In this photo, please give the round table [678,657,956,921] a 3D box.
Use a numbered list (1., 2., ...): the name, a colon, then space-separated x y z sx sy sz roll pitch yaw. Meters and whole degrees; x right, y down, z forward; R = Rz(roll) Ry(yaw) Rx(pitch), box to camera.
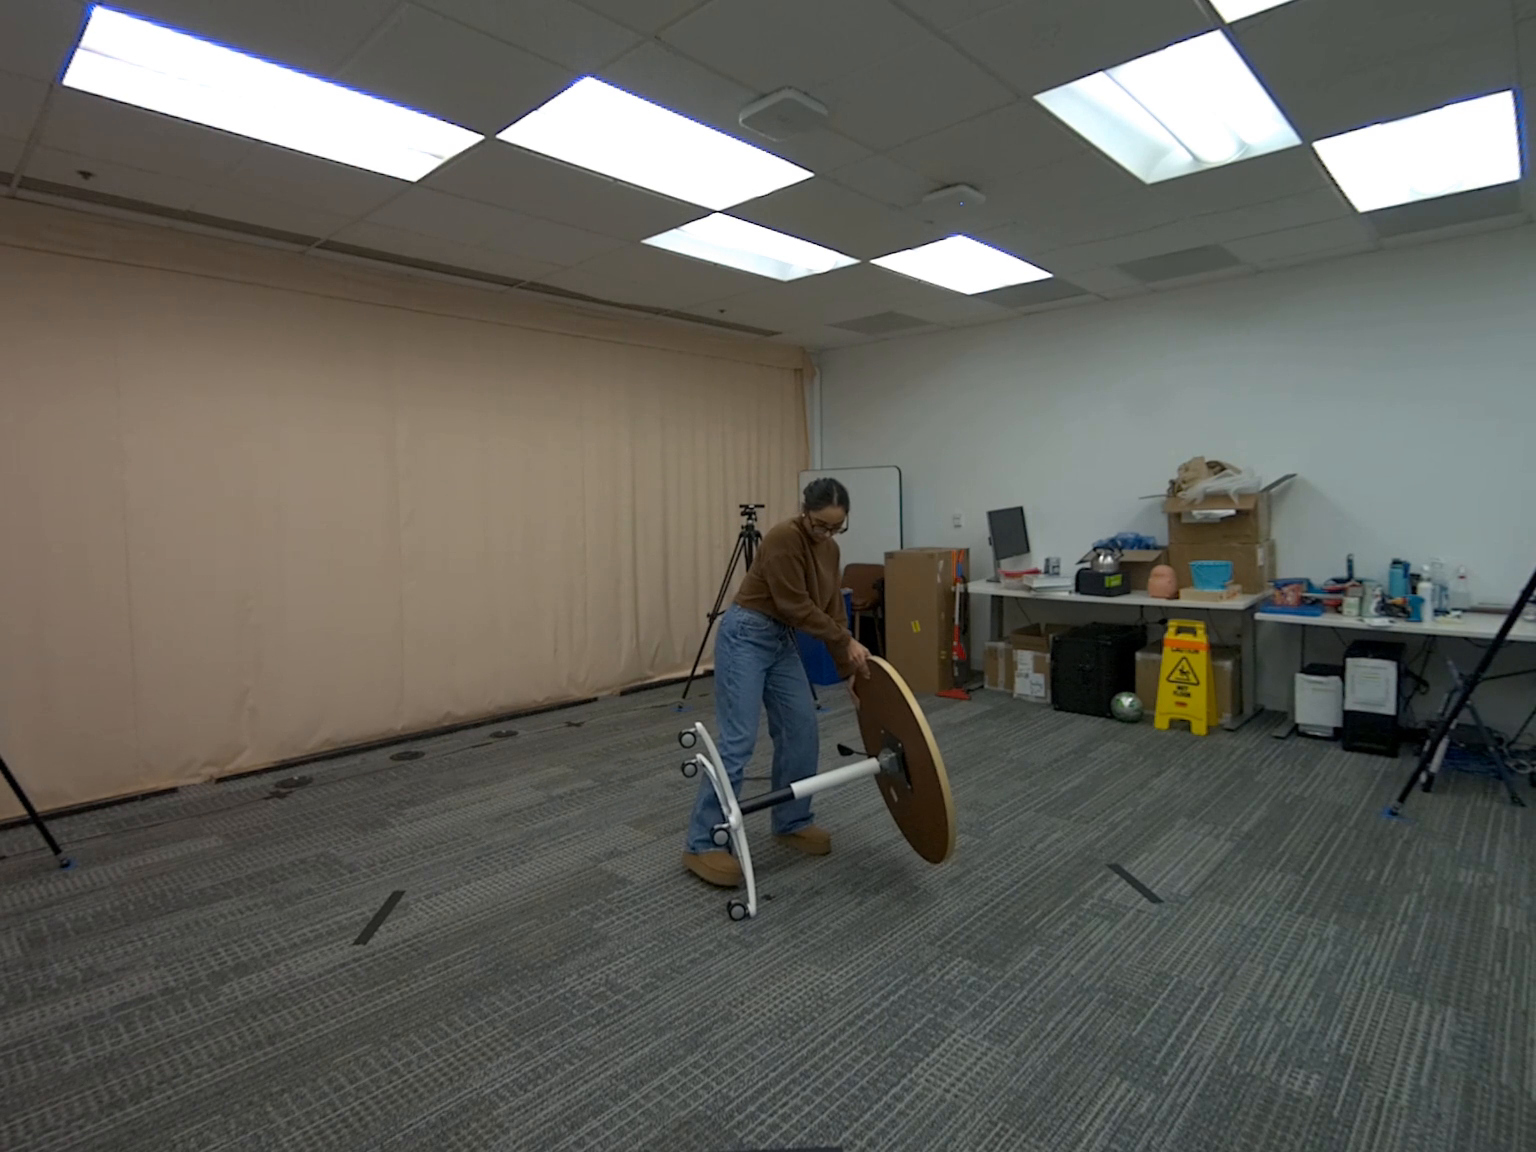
1. round table: 0.133 0.775 3.055 0.787 0.760 0.775 -15 7 -11
